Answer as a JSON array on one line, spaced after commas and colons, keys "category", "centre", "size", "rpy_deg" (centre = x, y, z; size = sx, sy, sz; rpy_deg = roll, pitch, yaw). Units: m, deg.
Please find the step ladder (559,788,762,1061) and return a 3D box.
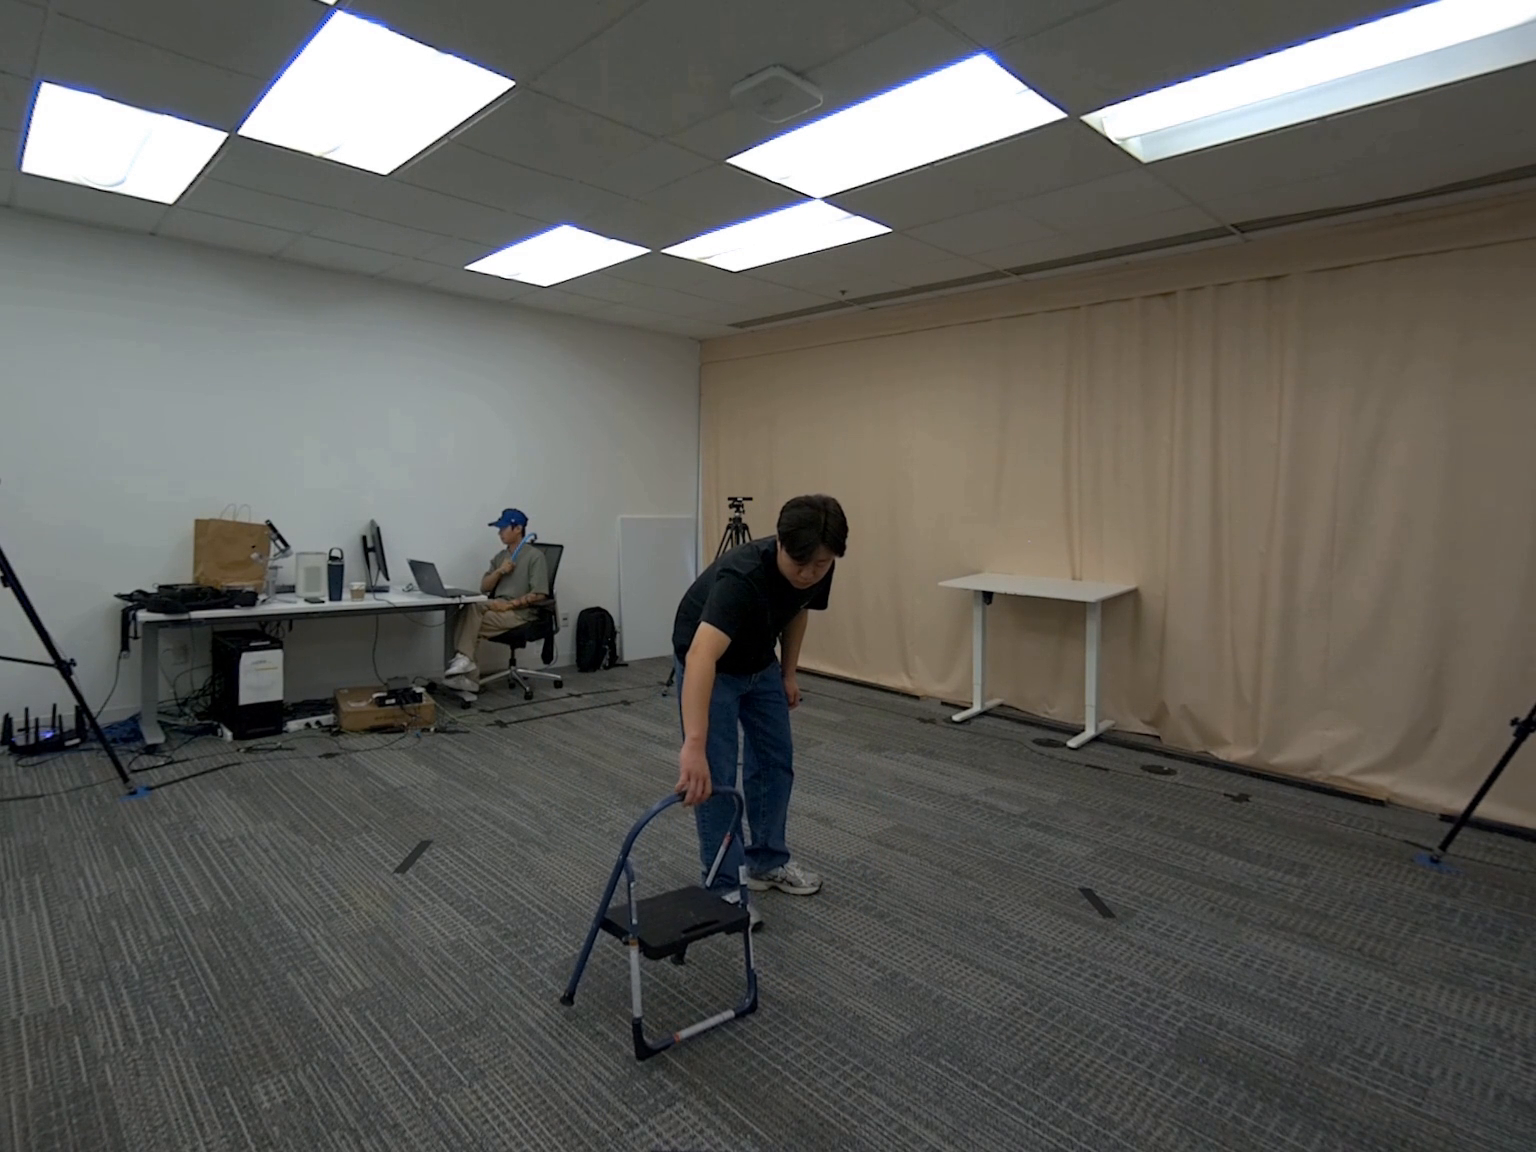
[{"category": "step ladder", "centre": [-0.267, 0.864, 2.270], "size": [0.358, 0.606, 0.419], "rpy_deg": [5, 0, 43]}]
